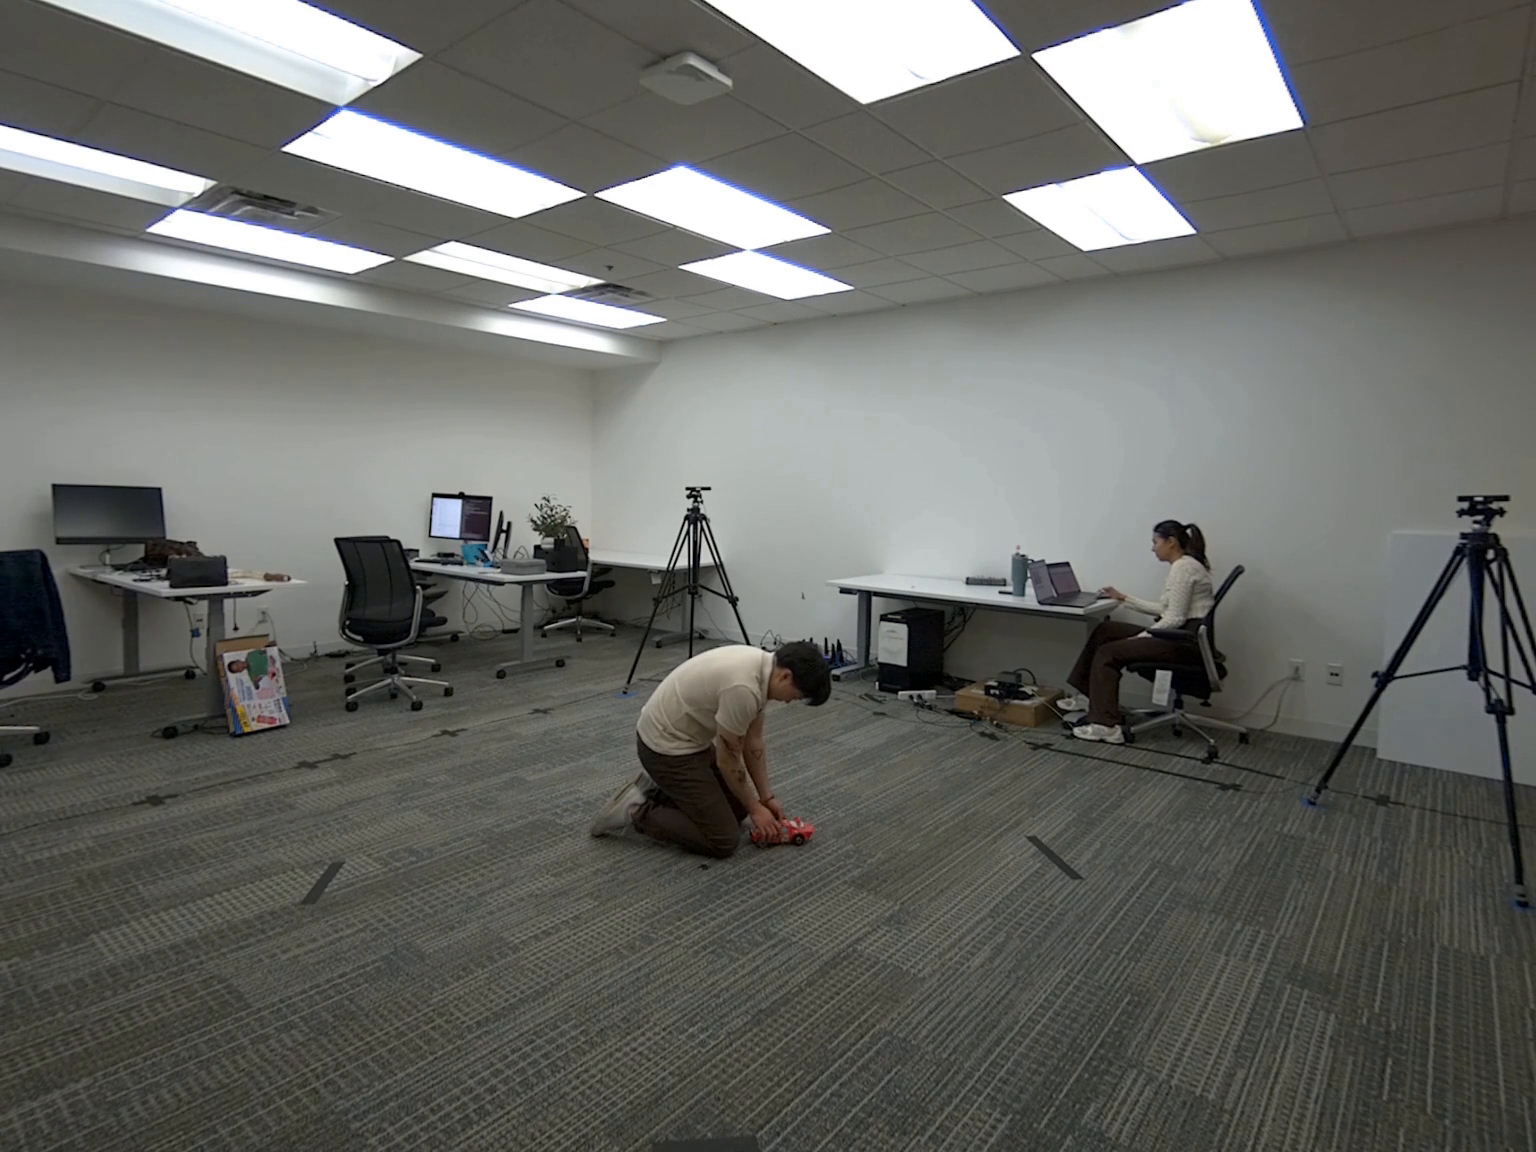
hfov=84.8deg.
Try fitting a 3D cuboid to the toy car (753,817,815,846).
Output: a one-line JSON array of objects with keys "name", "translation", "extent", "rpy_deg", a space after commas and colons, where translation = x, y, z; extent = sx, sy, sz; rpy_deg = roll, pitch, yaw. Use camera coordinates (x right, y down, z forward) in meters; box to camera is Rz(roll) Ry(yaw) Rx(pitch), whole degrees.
[{"name": "toy car", "translation": [0.055, 1.018, 3.360], "extent": [0.252, 0.082, 0.132], "rpy_deg": [-15, 8, -11]}]
